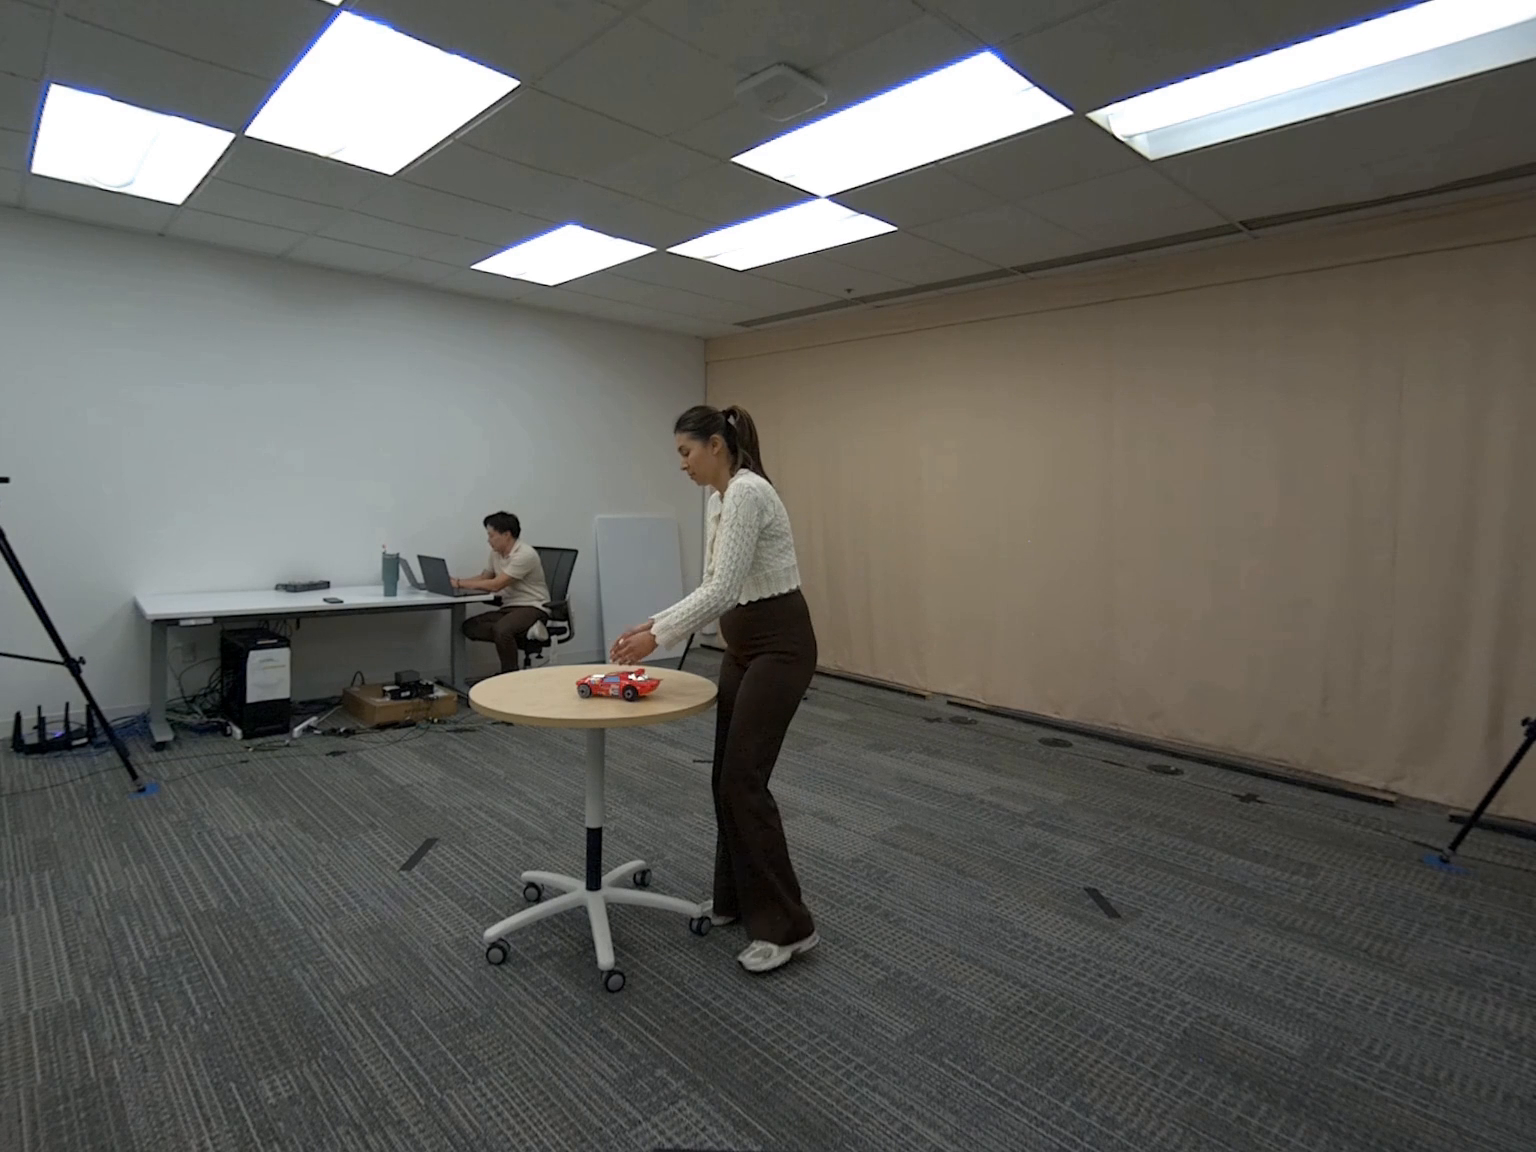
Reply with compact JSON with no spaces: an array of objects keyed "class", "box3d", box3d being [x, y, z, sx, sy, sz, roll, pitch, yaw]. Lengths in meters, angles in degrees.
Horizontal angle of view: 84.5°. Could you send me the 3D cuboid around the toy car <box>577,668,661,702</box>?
[{"class":"toy car","box3d":[-0.444,0.332,2.526,0.257,0.083,0.129,-10,2,13]}]
